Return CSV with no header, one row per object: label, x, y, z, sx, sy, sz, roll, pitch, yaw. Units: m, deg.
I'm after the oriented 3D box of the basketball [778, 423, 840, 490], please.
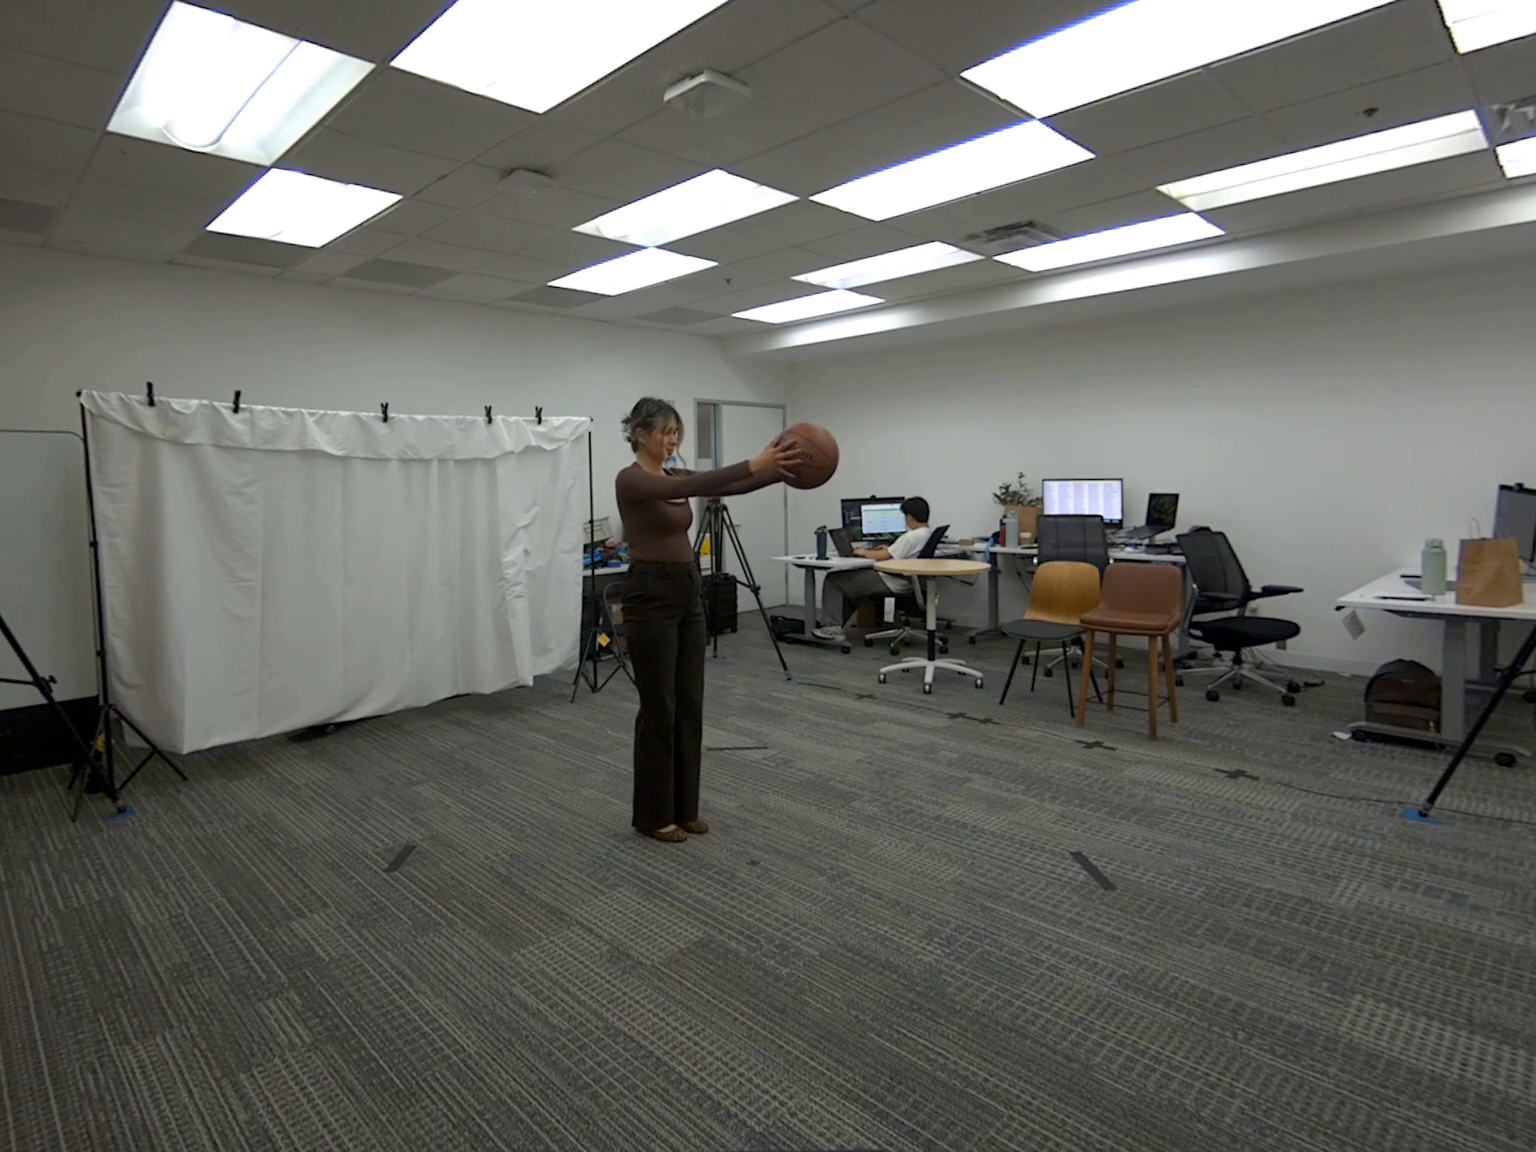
basketball,0.132,-0.415,3.013,0.236,0.235,0.237,-1,5,-2
